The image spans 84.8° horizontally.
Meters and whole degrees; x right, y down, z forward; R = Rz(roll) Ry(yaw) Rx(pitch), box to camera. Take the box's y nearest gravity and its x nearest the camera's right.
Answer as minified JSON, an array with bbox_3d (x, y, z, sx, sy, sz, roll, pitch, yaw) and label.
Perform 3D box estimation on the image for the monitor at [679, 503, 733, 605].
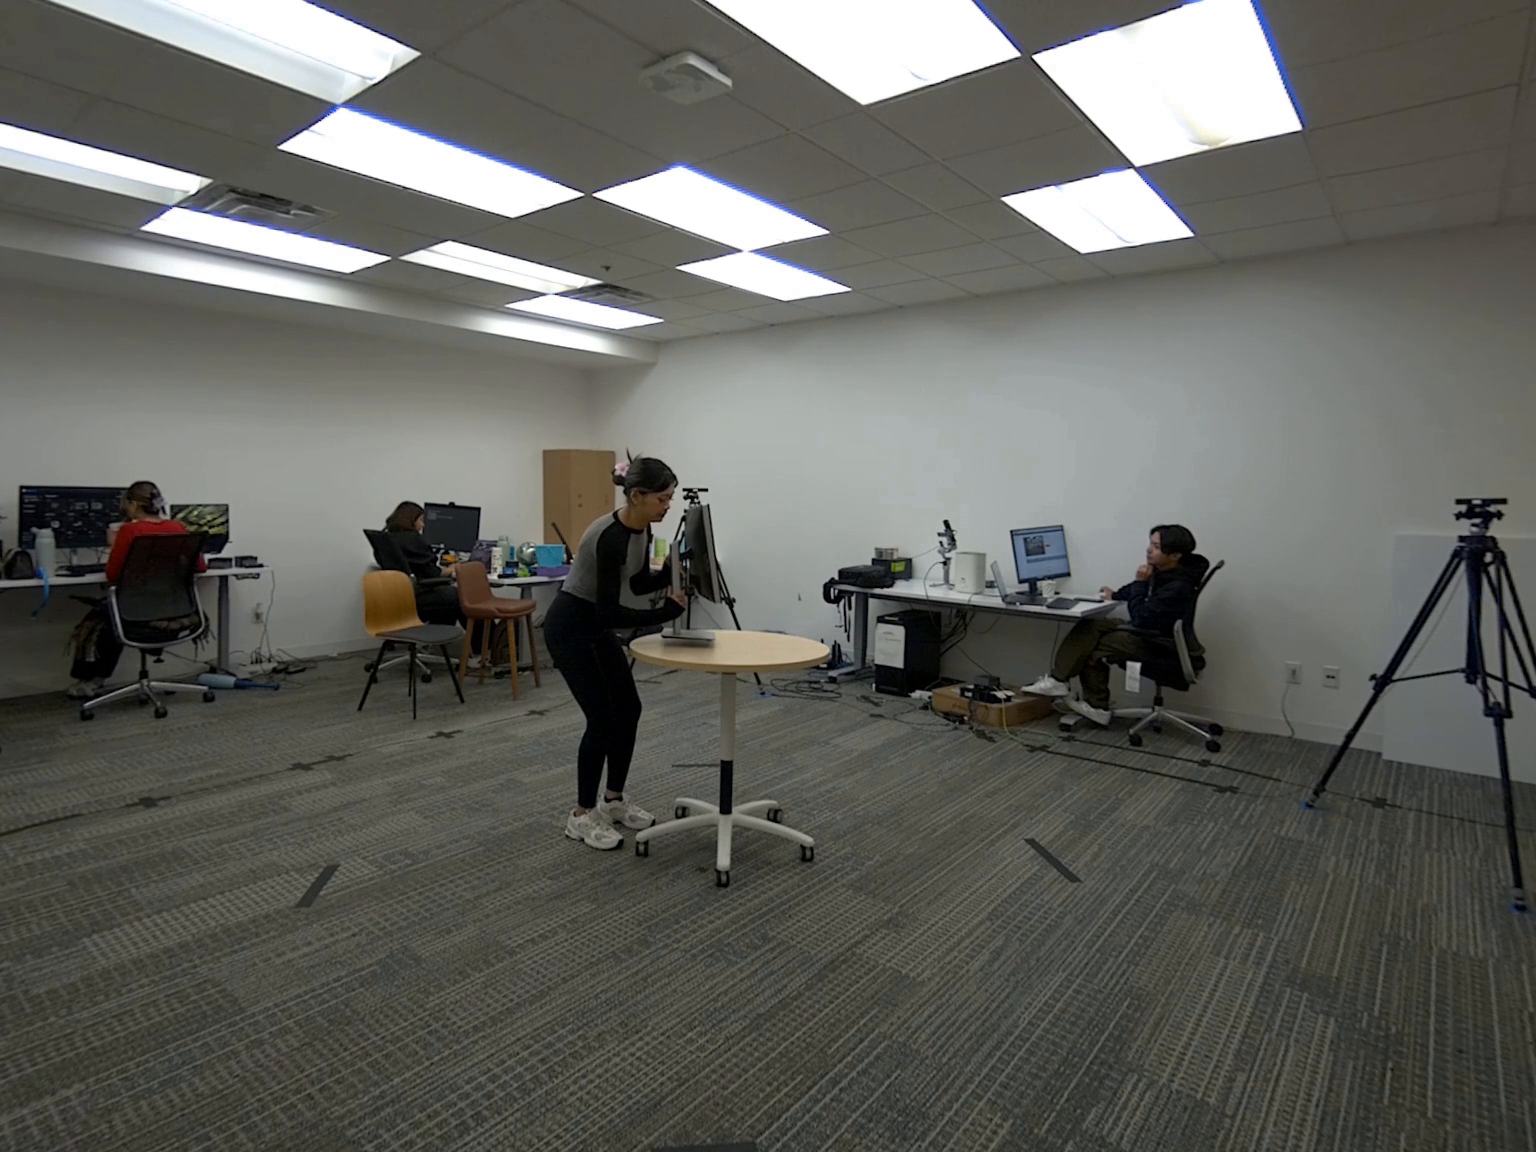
[{"bbox_3d":[-0.310,-0.010,3.300,0.184,0.523,0.546,5,-1,-13],"label":"monitor"}]
